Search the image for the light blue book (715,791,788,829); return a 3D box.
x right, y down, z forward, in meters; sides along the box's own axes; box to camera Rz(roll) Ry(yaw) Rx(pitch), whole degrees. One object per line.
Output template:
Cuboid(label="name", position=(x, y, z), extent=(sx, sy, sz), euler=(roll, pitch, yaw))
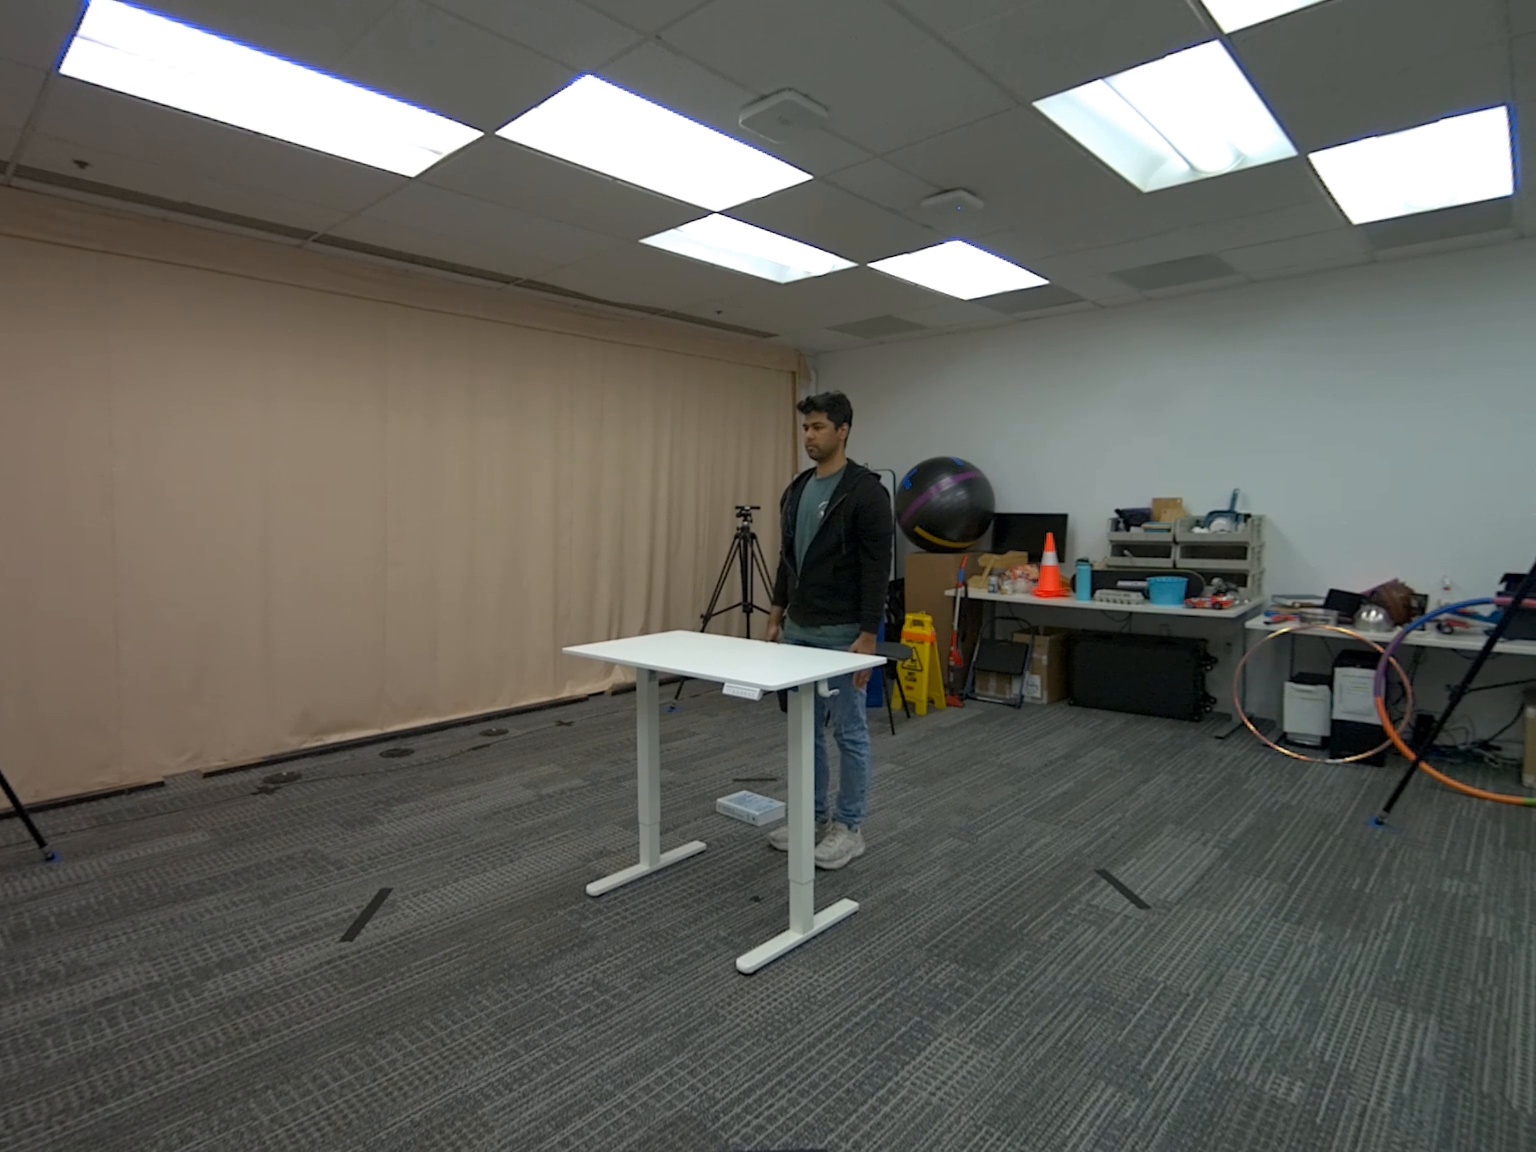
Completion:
Cuboid(label="light blue book", position=(-0.078, 1.046, 3.805), extent=(0.270, 0.059, 0.185), euler=(4, 5, 44))
